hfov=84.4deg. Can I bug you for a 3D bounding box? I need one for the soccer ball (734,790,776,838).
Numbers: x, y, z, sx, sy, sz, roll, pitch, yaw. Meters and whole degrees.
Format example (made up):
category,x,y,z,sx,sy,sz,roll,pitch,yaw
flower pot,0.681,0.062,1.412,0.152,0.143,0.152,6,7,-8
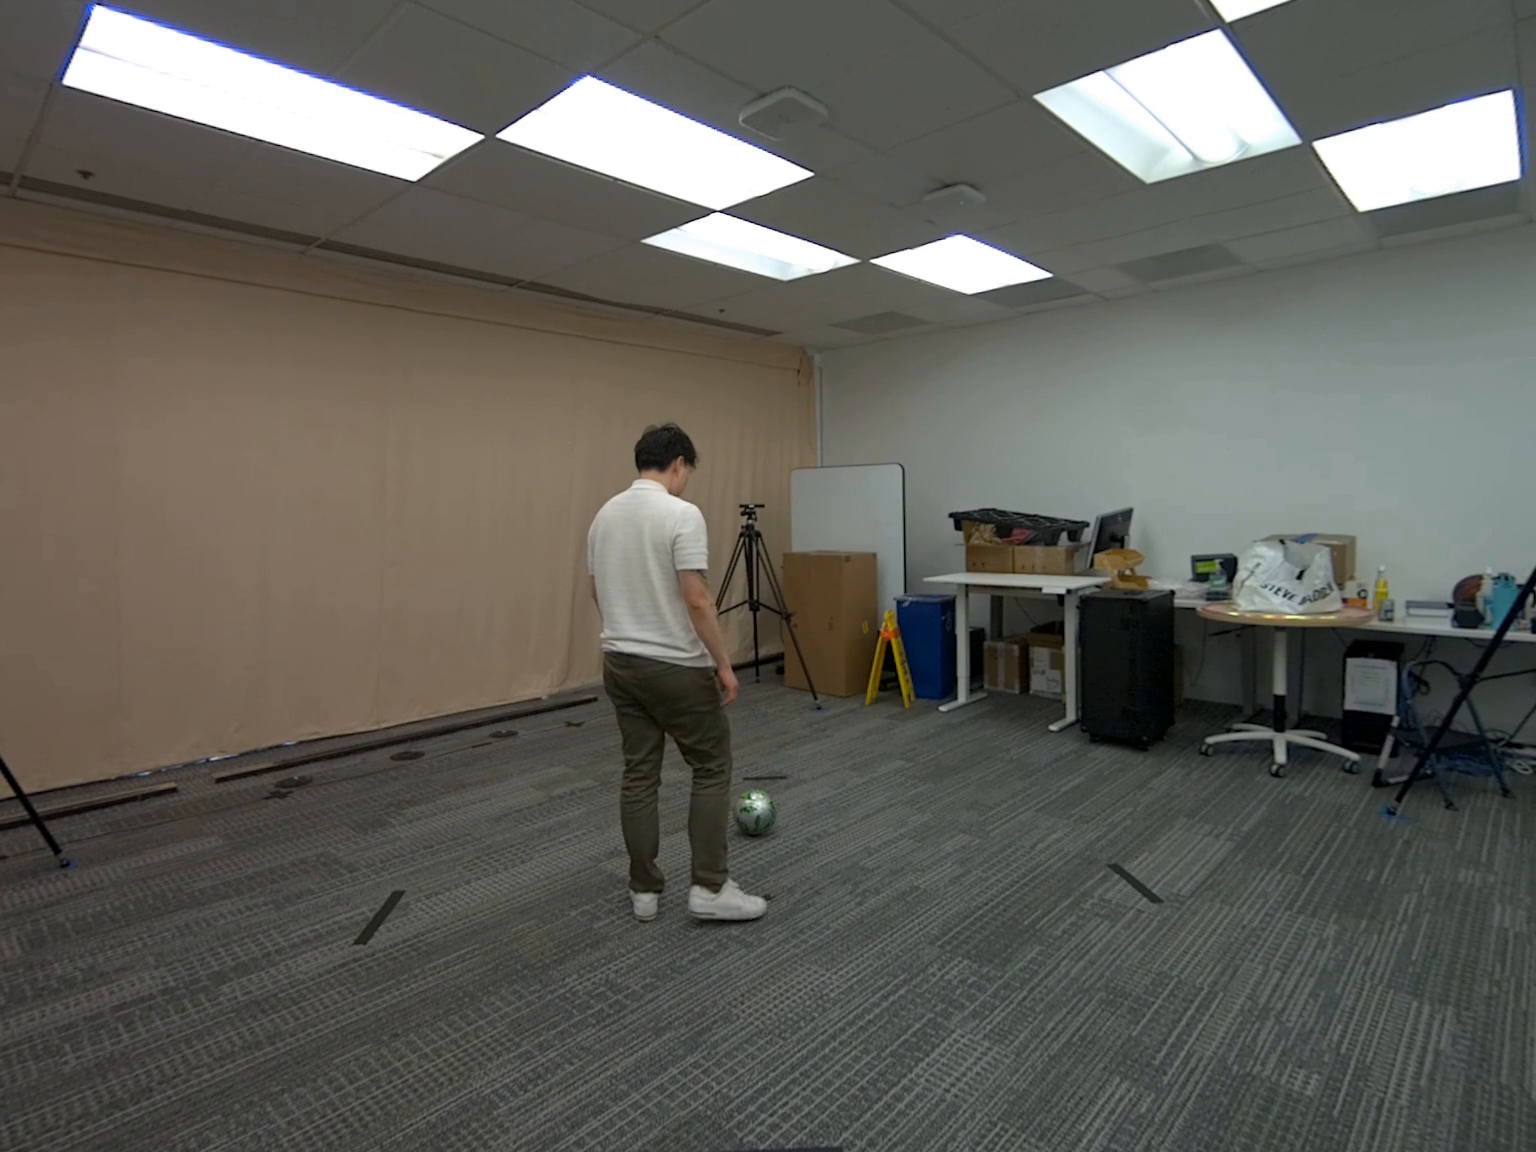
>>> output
category,x,y,z,sx,sy,sz,roll,pitch,yaw
soccer ball,-0.057,0.995,3.564,0.187,0.187,0.188,-1,4,-2
